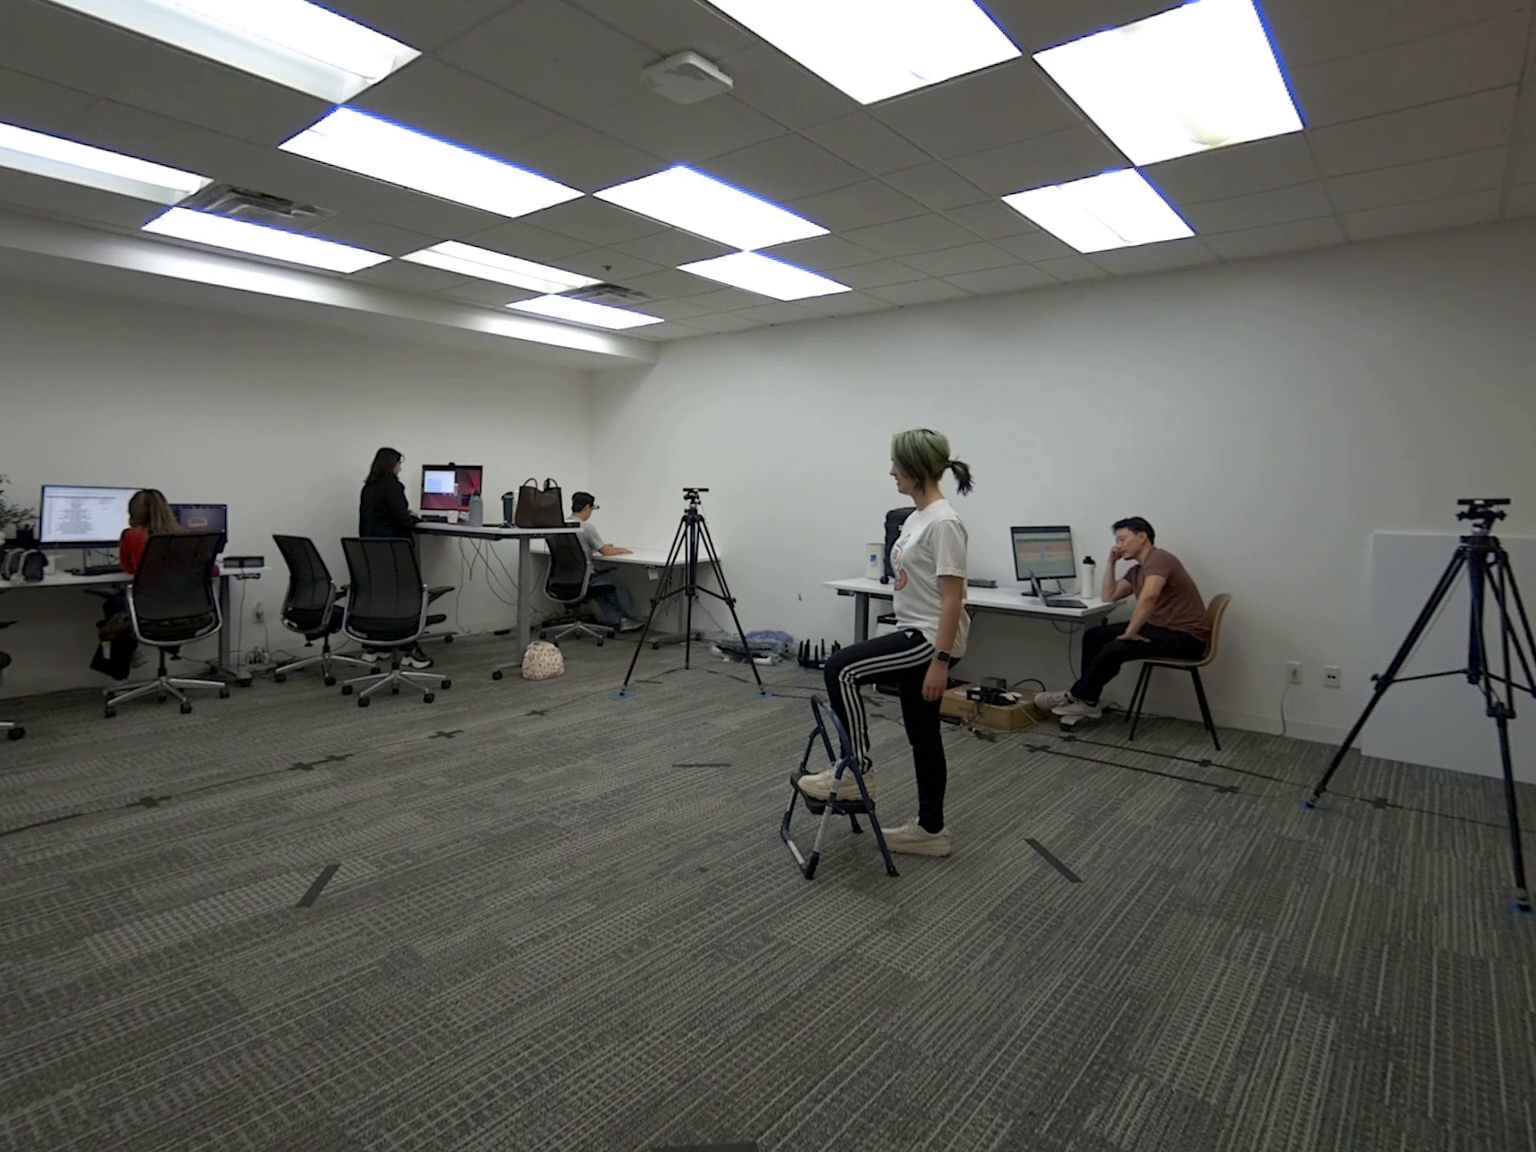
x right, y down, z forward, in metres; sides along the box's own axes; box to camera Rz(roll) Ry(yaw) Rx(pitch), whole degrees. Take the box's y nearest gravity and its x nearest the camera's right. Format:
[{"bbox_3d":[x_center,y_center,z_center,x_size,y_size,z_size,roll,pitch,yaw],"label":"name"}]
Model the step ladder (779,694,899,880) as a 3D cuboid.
[{"bbox_3d":[0.260,0.769,3.257,0.345,0.604,0.437,1,3,-12],"label":"step ladder"}]
